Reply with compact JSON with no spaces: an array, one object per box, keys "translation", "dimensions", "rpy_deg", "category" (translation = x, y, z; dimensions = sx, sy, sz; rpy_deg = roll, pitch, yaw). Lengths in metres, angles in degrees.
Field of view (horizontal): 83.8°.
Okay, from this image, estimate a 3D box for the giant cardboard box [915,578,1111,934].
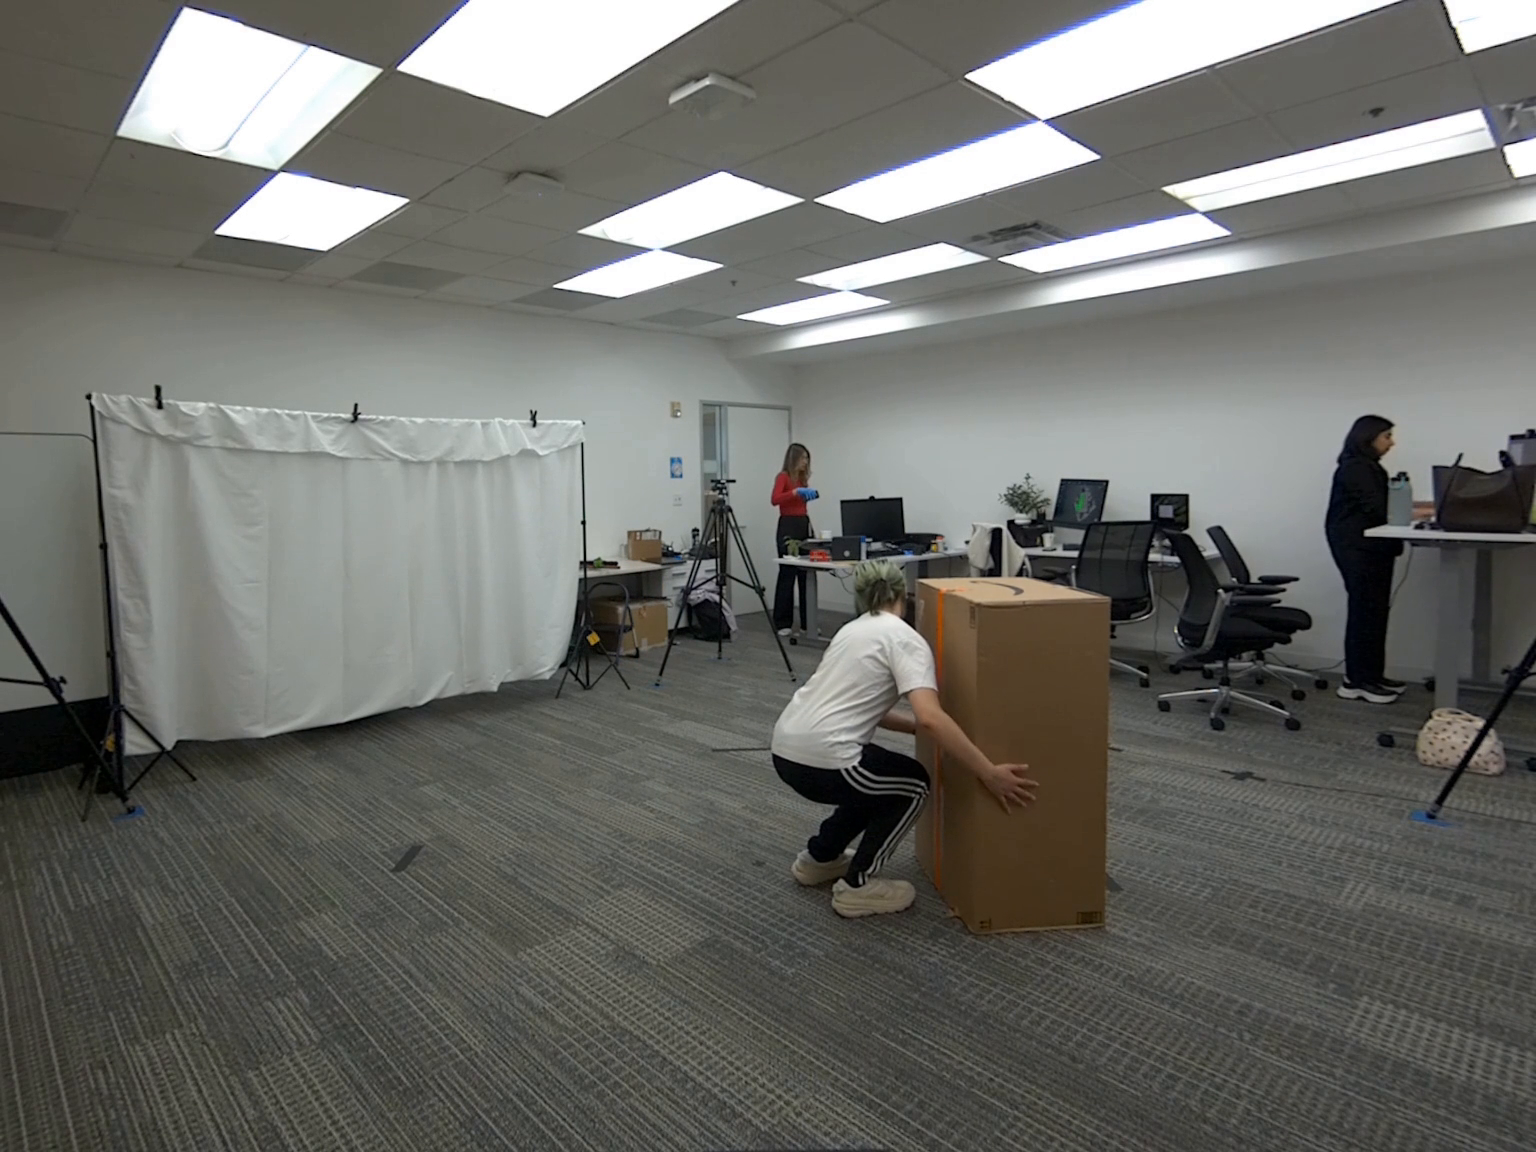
[{"translation":[0.789,0.548,2.860],"dimensions":[0.444,1.023,0.590],"rpy_deg":[0,4,-8],"category":"giant cardboard box"}]
